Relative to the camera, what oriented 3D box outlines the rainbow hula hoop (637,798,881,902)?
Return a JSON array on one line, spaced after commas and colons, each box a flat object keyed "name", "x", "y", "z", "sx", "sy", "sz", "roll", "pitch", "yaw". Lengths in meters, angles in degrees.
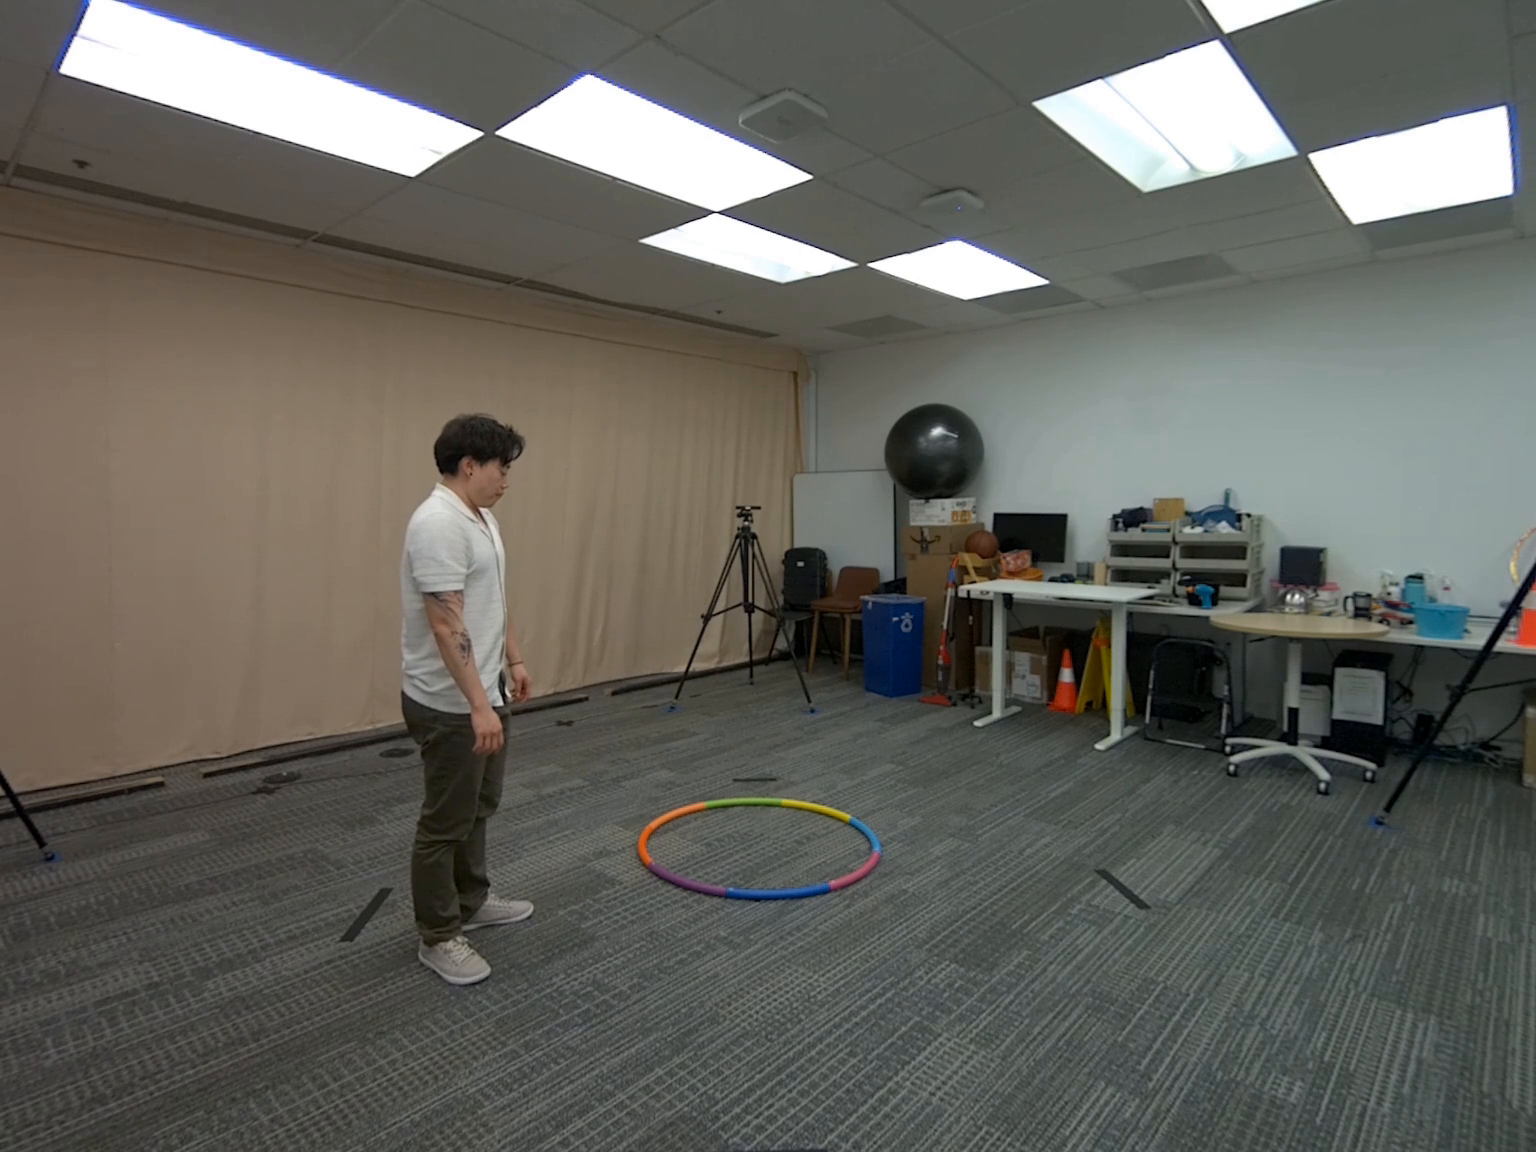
[{"name": "rainbow hula hoop", "x": -0.039, "y": 1.075, "z": 3.444, "sx": 0.978, "sy": 0.035, "sz": 0.982, "roll": 0, "pitch": 5, "yaw": -2}]
